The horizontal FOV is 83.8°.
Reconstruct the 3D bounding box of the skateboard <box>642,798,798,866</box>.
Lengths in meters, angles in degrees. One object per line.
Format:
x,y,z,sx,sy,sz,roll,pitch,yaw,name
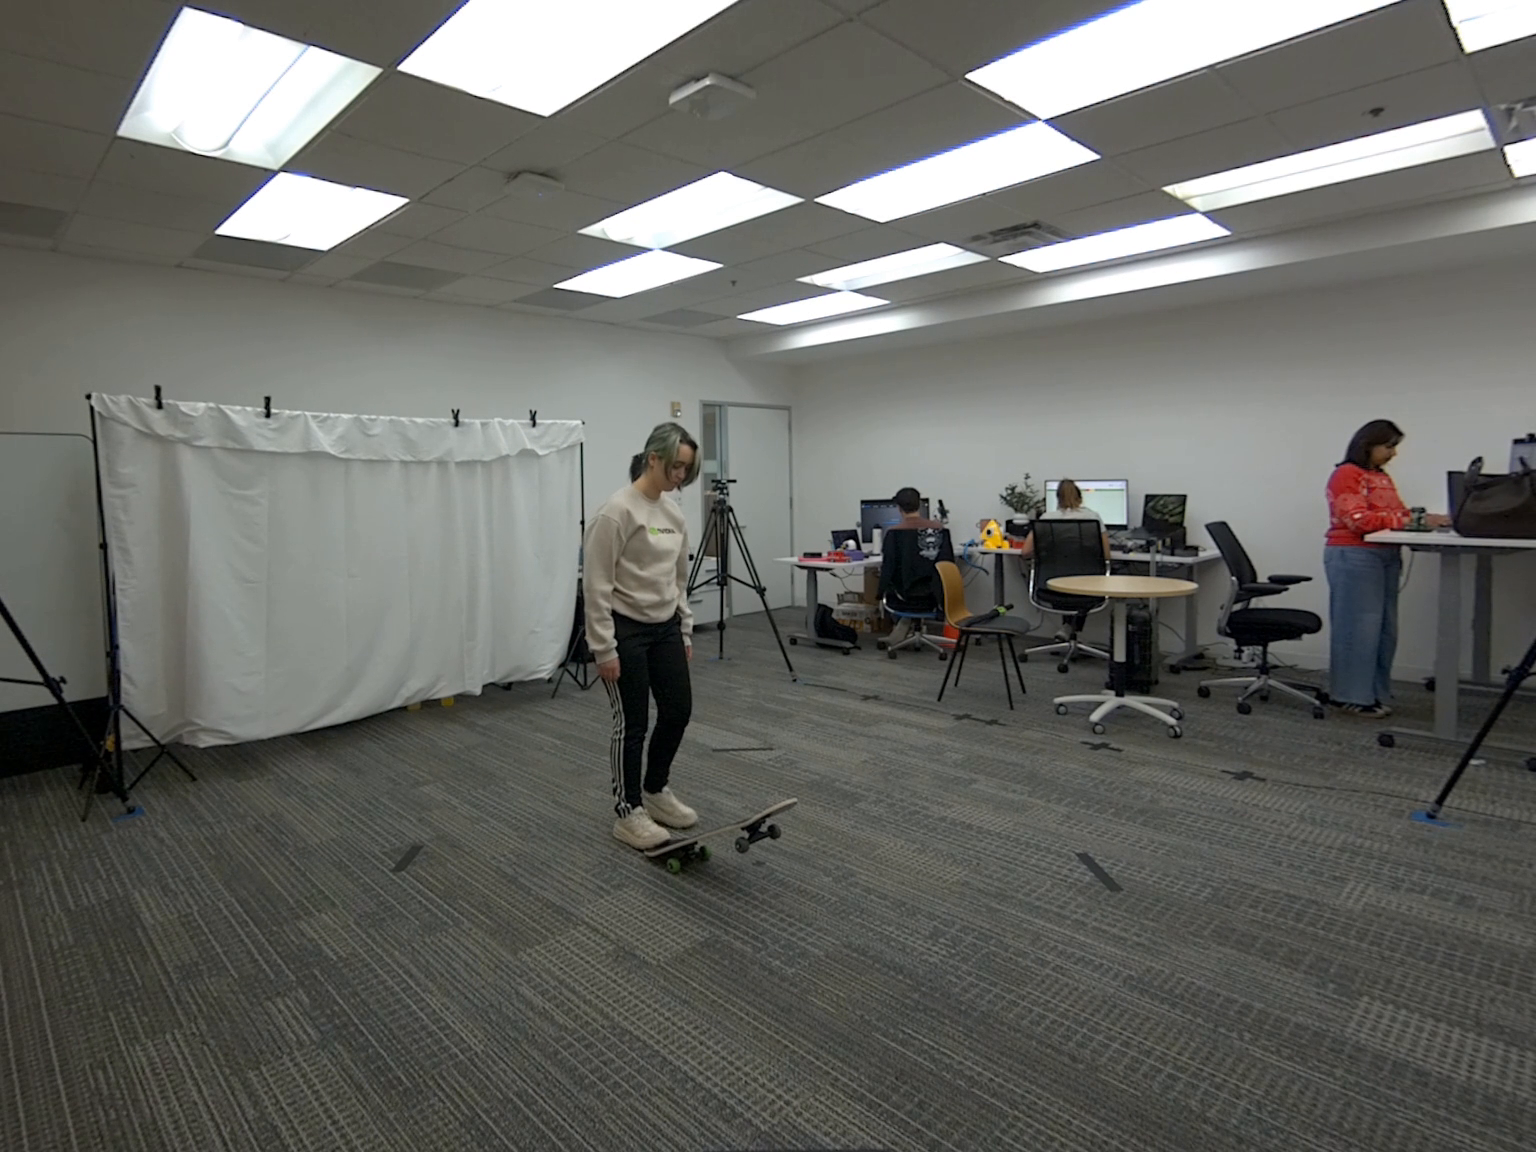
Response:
-0.164,0.925,2.977,0.188,0.112,0.792,-6,-20,-45,skateboard
